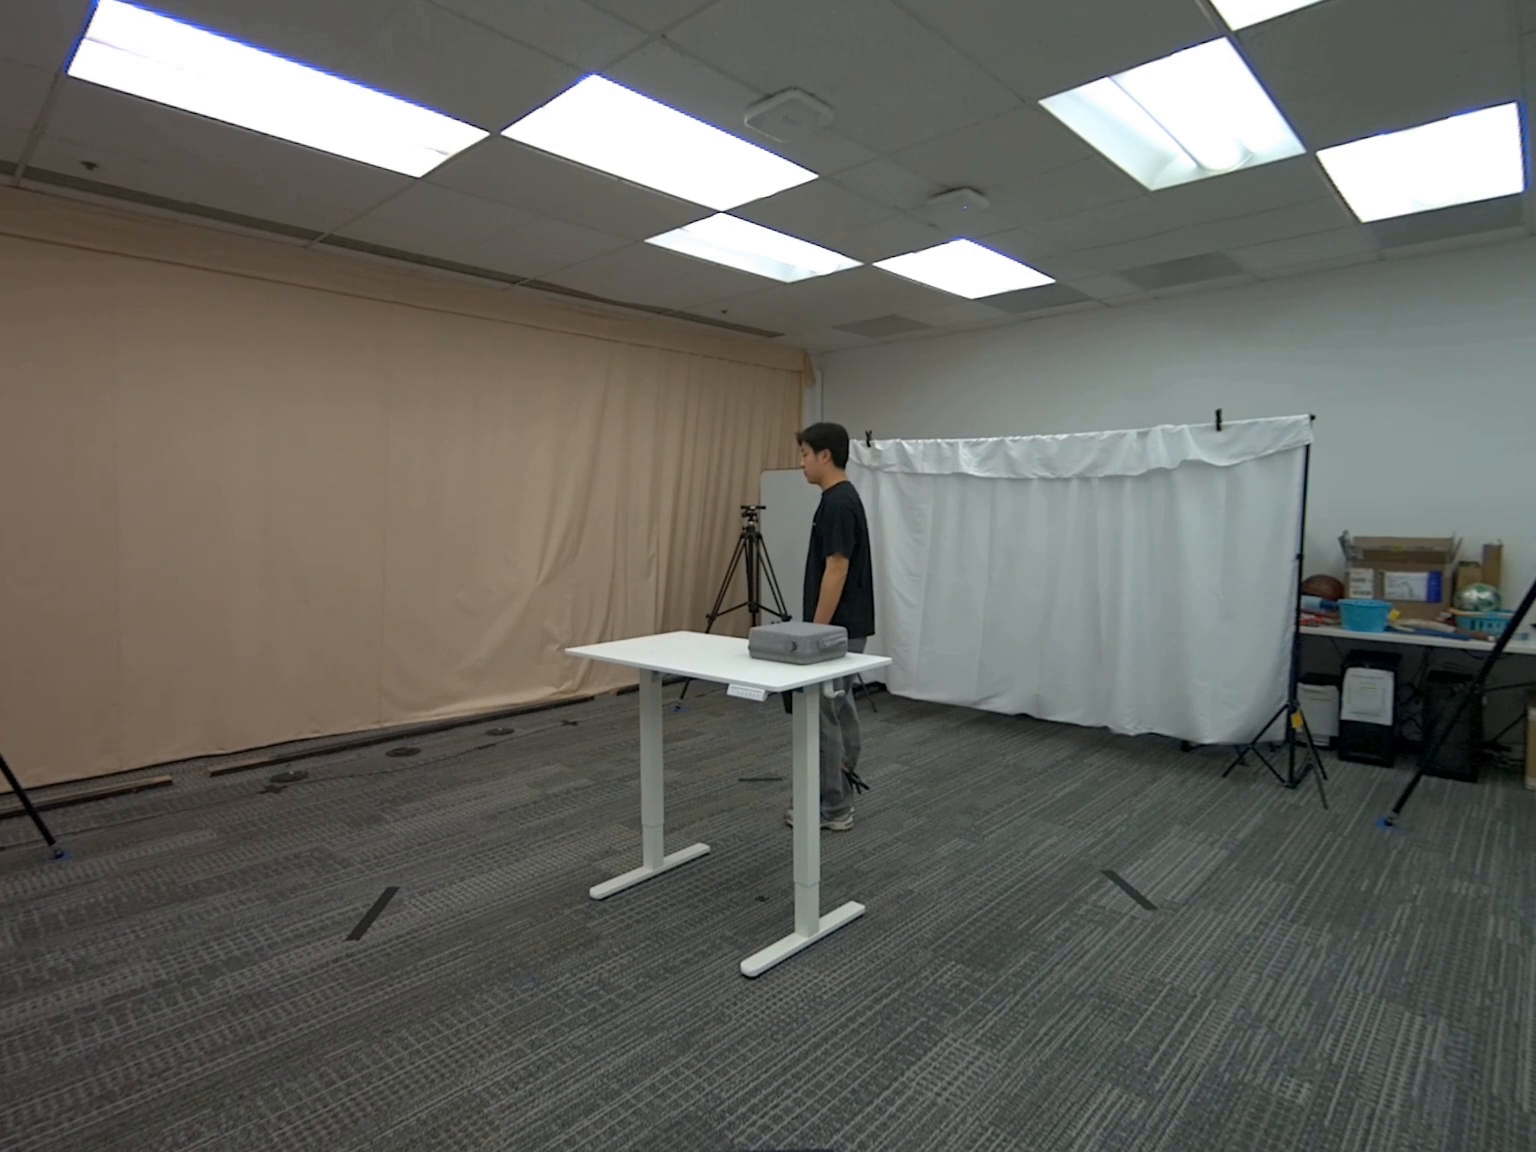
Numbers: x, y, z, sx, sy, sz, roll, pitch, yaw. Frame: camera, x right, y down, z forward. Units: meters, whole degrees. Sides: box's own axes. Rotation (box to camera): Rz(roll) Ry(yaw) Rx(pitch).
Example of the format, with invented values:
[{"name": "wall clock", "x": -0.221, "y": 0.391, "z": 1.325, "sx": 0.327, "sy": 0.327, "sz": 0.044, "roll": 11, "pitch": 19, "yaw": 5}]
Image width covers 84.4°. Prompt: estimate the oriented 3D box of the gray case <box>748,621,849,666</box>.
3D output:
[{"name": "gray case", "x": 0.102, "y": 0.222, "z": 2.810, "sx": 0.269, "sy": 0.104, "sz": 0.249, "roll": 3, "pitch": 4, "yaw": 42}]
